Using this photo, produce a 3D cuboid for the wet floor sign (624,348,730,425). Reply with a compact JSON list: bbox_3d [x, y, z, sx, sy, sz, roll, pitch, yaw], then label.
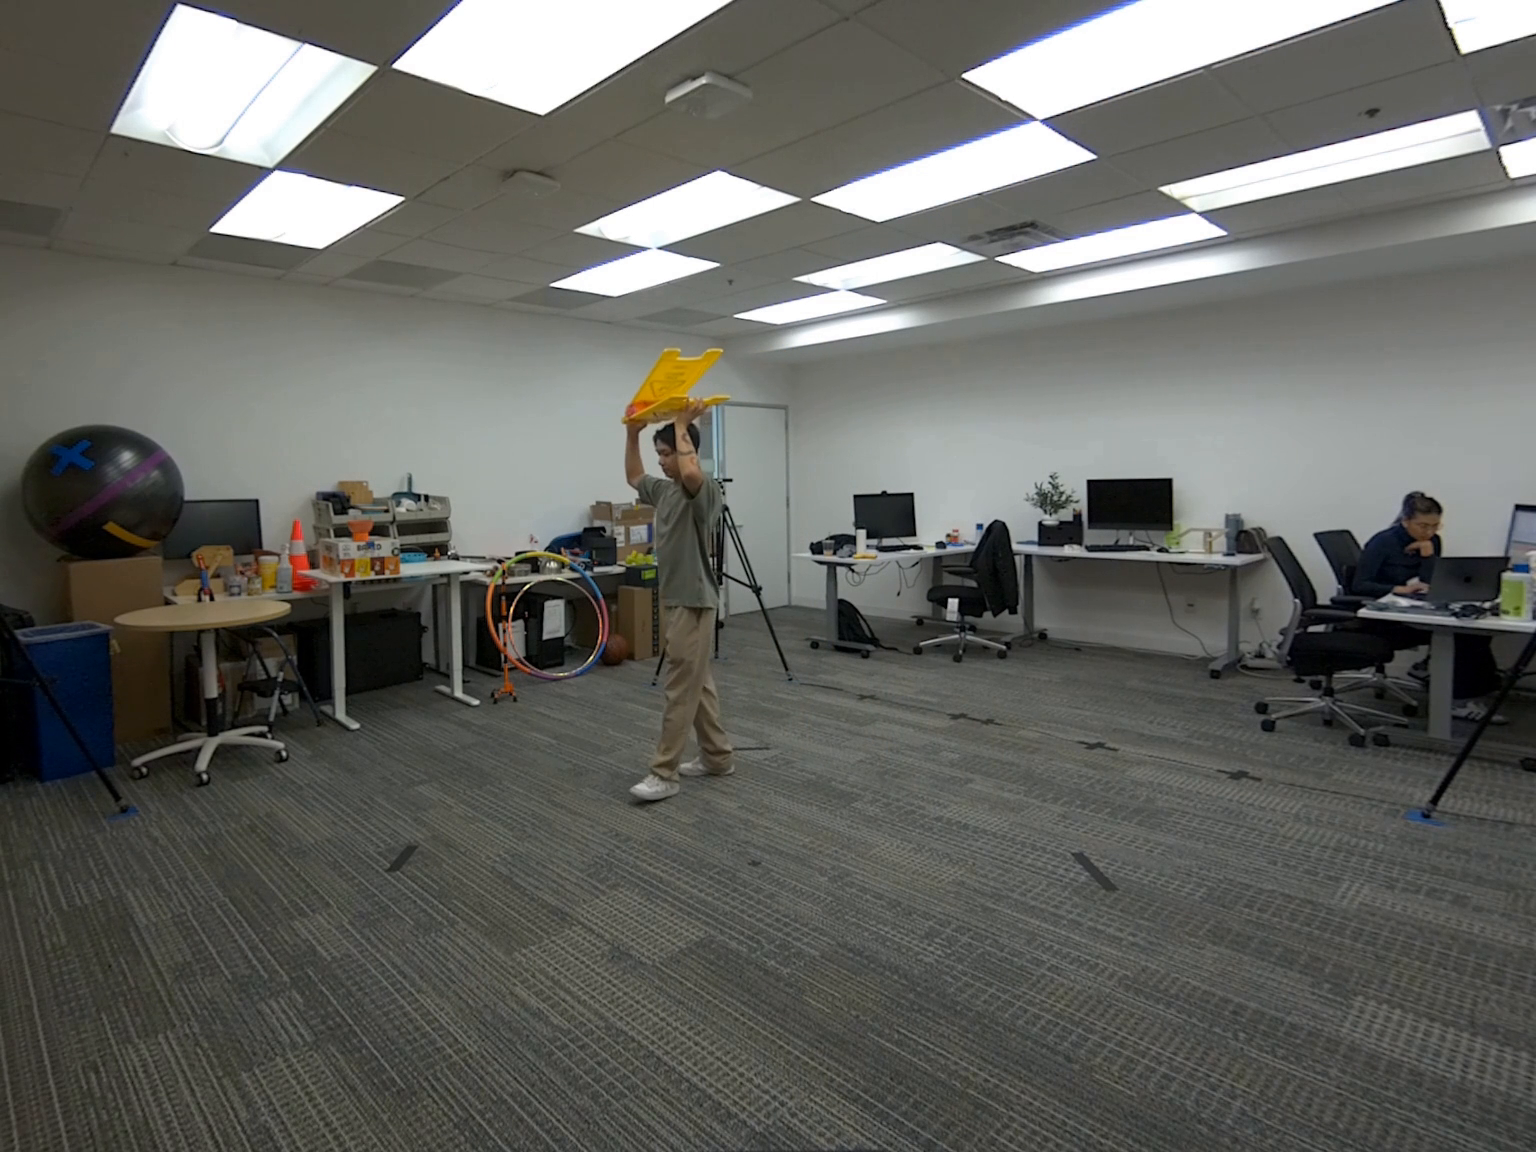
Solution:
[{"bbox_3d":[-0.446,-0.793,3.844,0.276,0.291,0.657,-5,-5,-32],"label":"wet floor sign"}]
